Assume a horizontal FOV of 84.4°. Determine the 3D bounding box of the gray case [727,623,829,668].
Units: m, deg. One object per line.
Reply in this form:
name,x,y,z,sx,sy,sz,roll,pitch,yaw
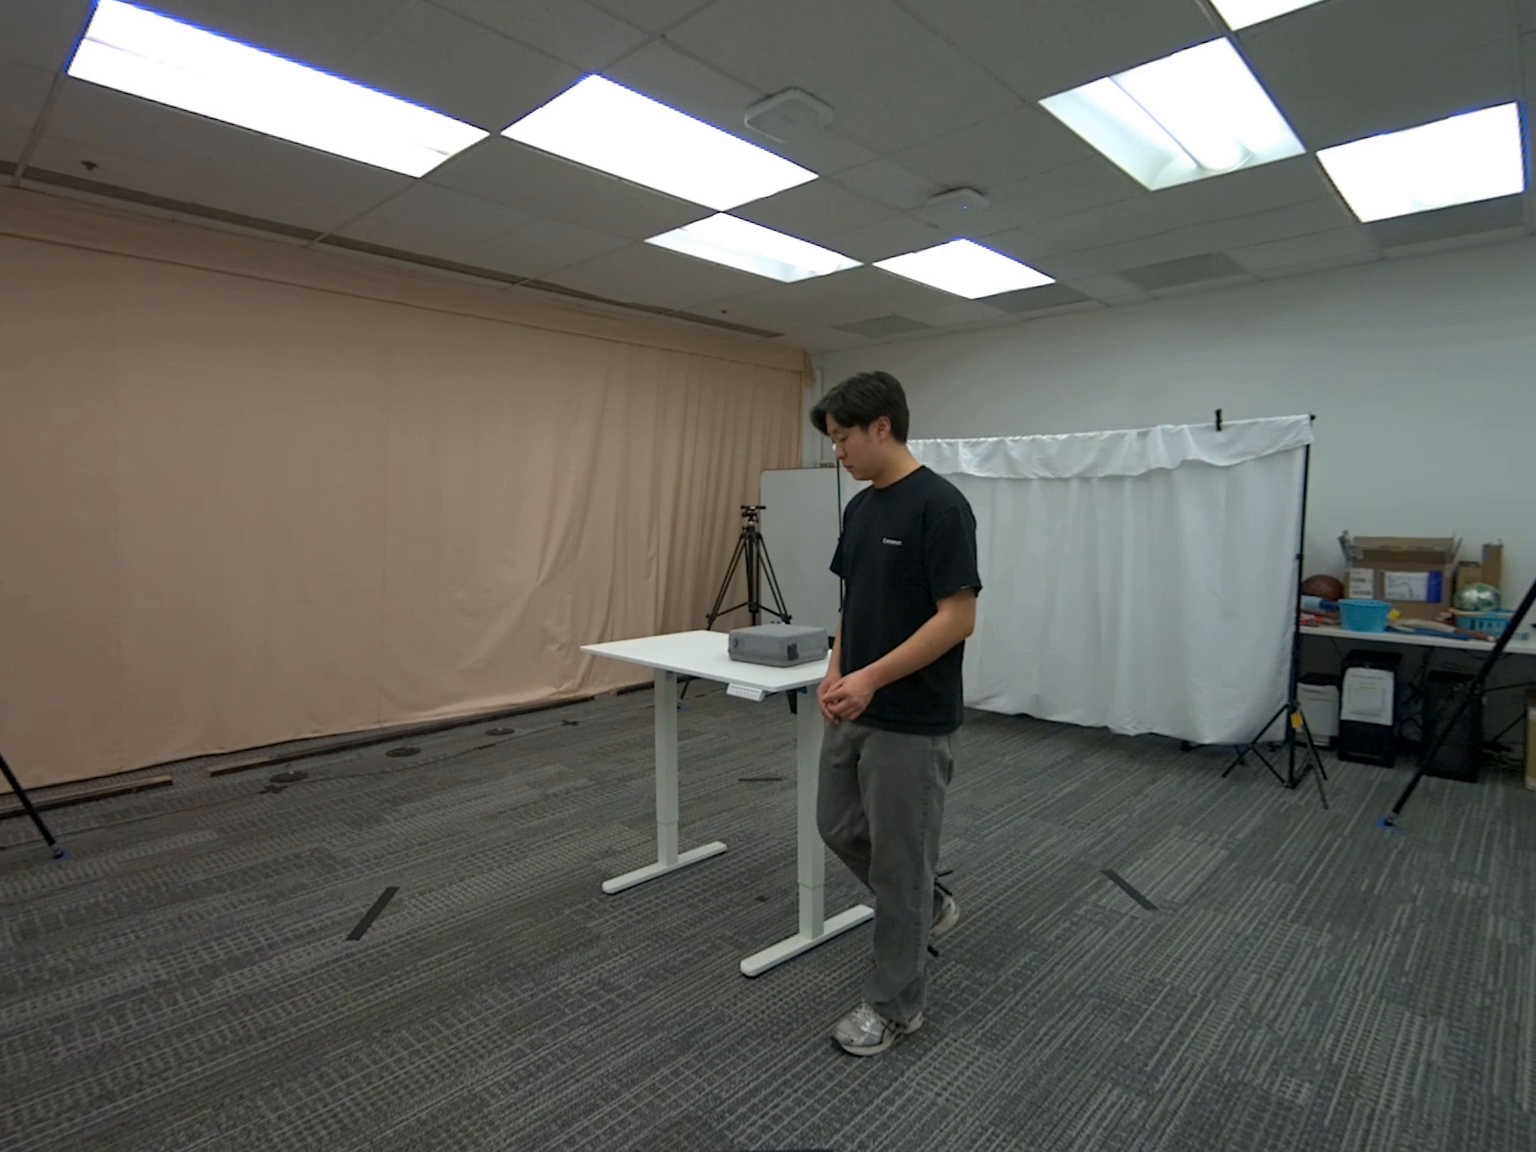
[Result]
gray case,0.026,0.224,2.787,0.297,0.103,0.255,3,6,42
